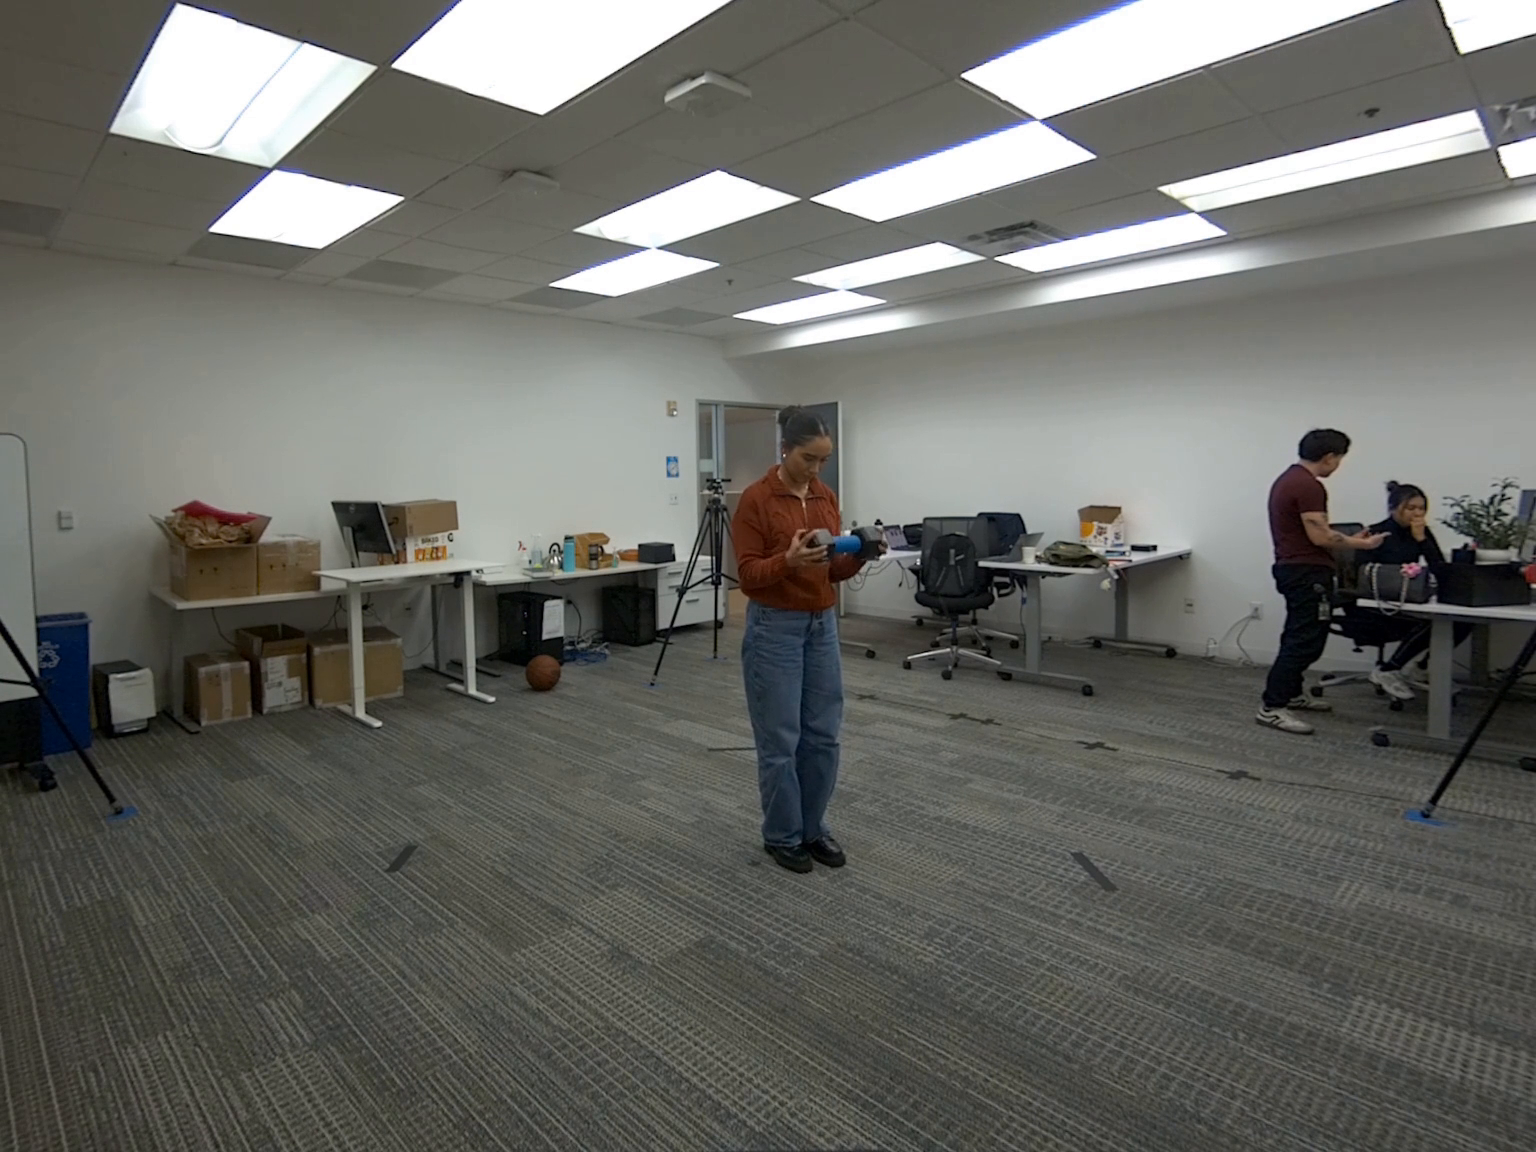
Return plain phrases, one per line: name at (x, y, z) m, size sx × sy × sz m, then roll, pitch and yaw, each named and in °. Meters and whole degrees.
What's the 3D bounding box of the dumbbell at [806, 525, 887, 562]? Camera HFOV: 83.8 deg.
dumbbell at (0.234, -0.098, 2.873) m, size 0.286 × 0.109 × 0.125 m, roll -3°, pitch -7°, yaw -31°
